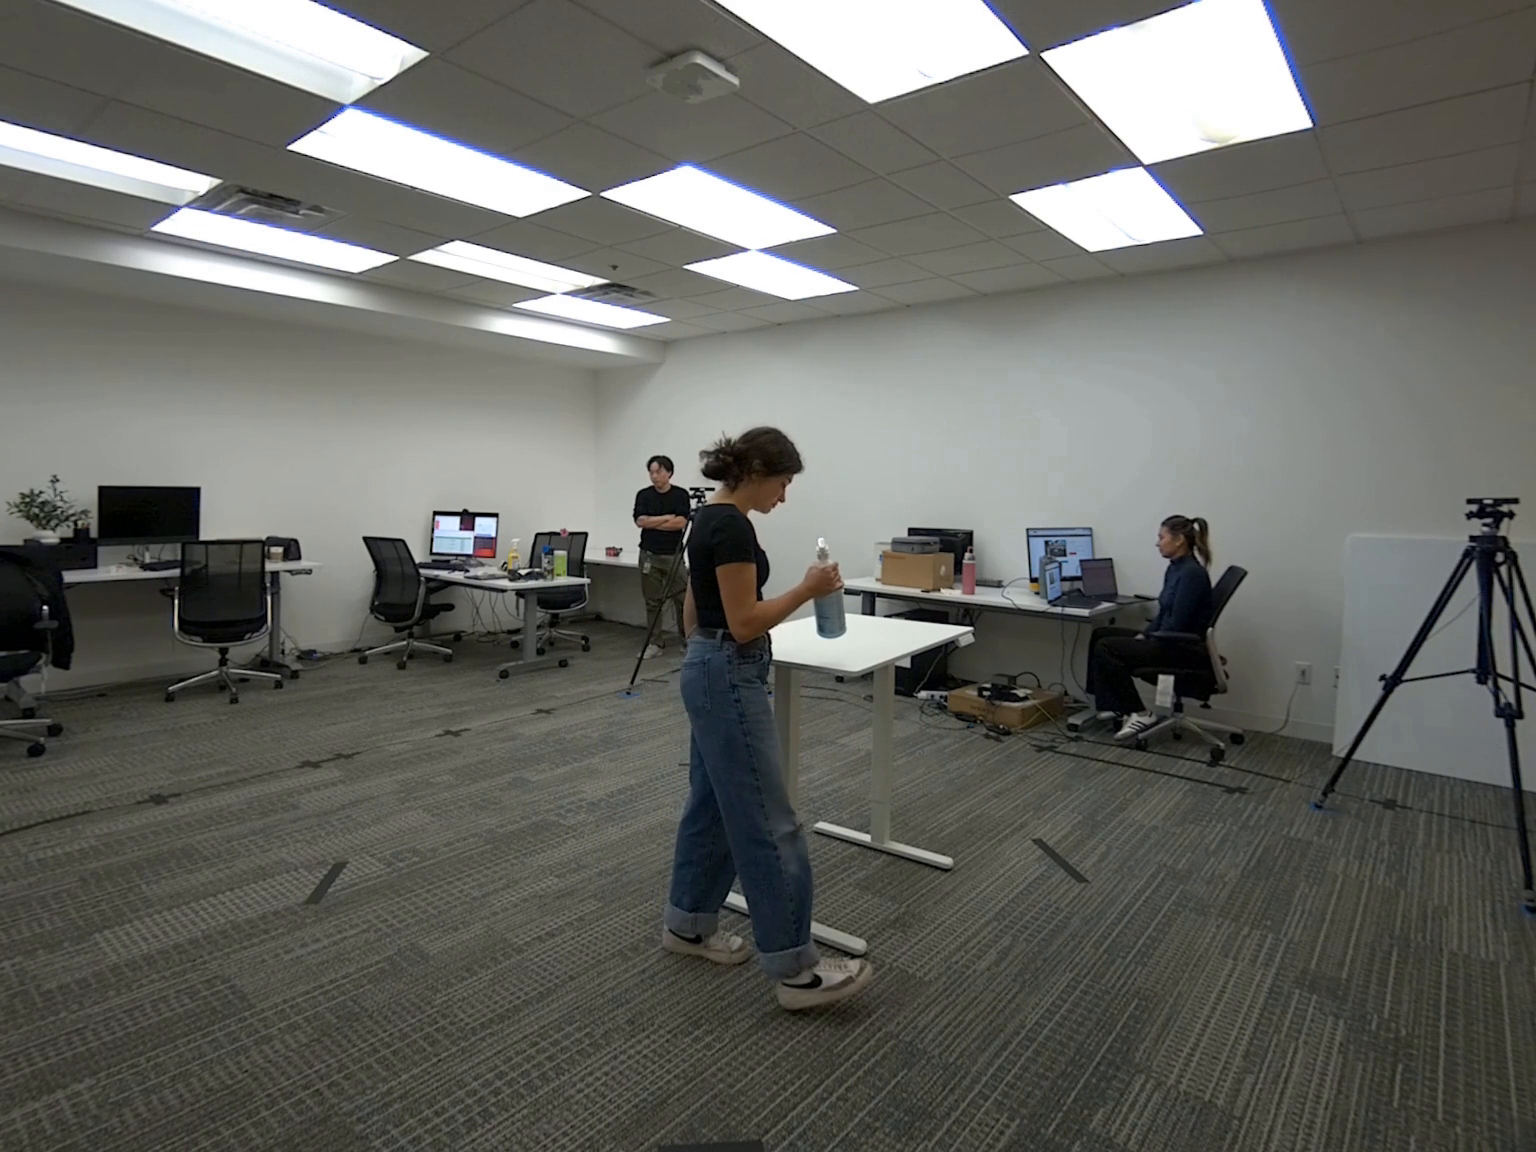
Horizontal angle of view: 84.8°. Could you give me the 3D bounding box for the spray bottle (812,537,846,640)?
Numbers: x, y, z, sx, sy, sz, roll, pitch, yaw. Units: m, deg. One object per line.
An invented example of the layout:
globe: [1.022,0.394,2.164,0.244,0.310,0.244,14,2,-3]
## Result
spray bottle: [0.157,0.034,2.398,0.089,0.291,0.089,5,25,29]
